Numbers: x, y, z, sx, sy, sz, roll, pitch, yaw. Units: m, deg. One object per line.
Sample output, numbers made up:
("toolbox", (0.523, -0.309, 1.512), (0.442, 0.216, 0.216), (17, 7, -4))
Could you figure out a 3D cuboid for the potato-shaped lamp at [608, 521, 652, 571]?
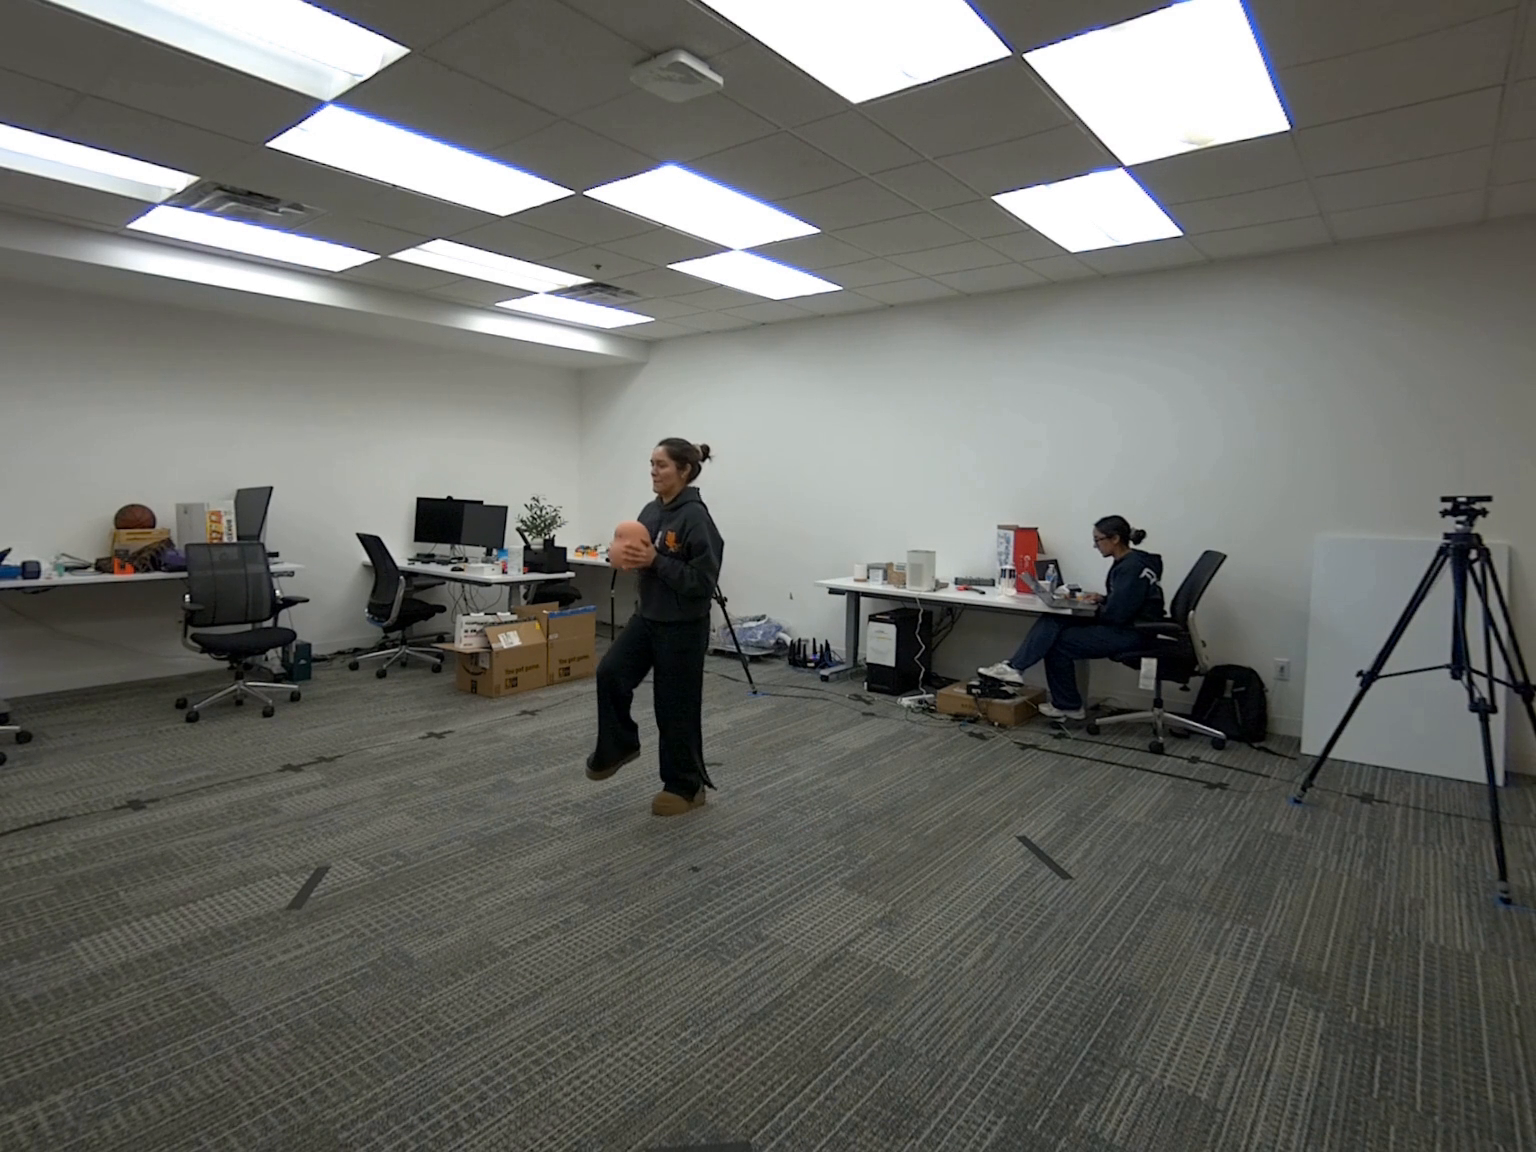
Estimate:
("potato-shaped lamp", (-0.577, -0.137, 3.466), (0.167, 0.197, 0.170), (-9, 7, -34))
